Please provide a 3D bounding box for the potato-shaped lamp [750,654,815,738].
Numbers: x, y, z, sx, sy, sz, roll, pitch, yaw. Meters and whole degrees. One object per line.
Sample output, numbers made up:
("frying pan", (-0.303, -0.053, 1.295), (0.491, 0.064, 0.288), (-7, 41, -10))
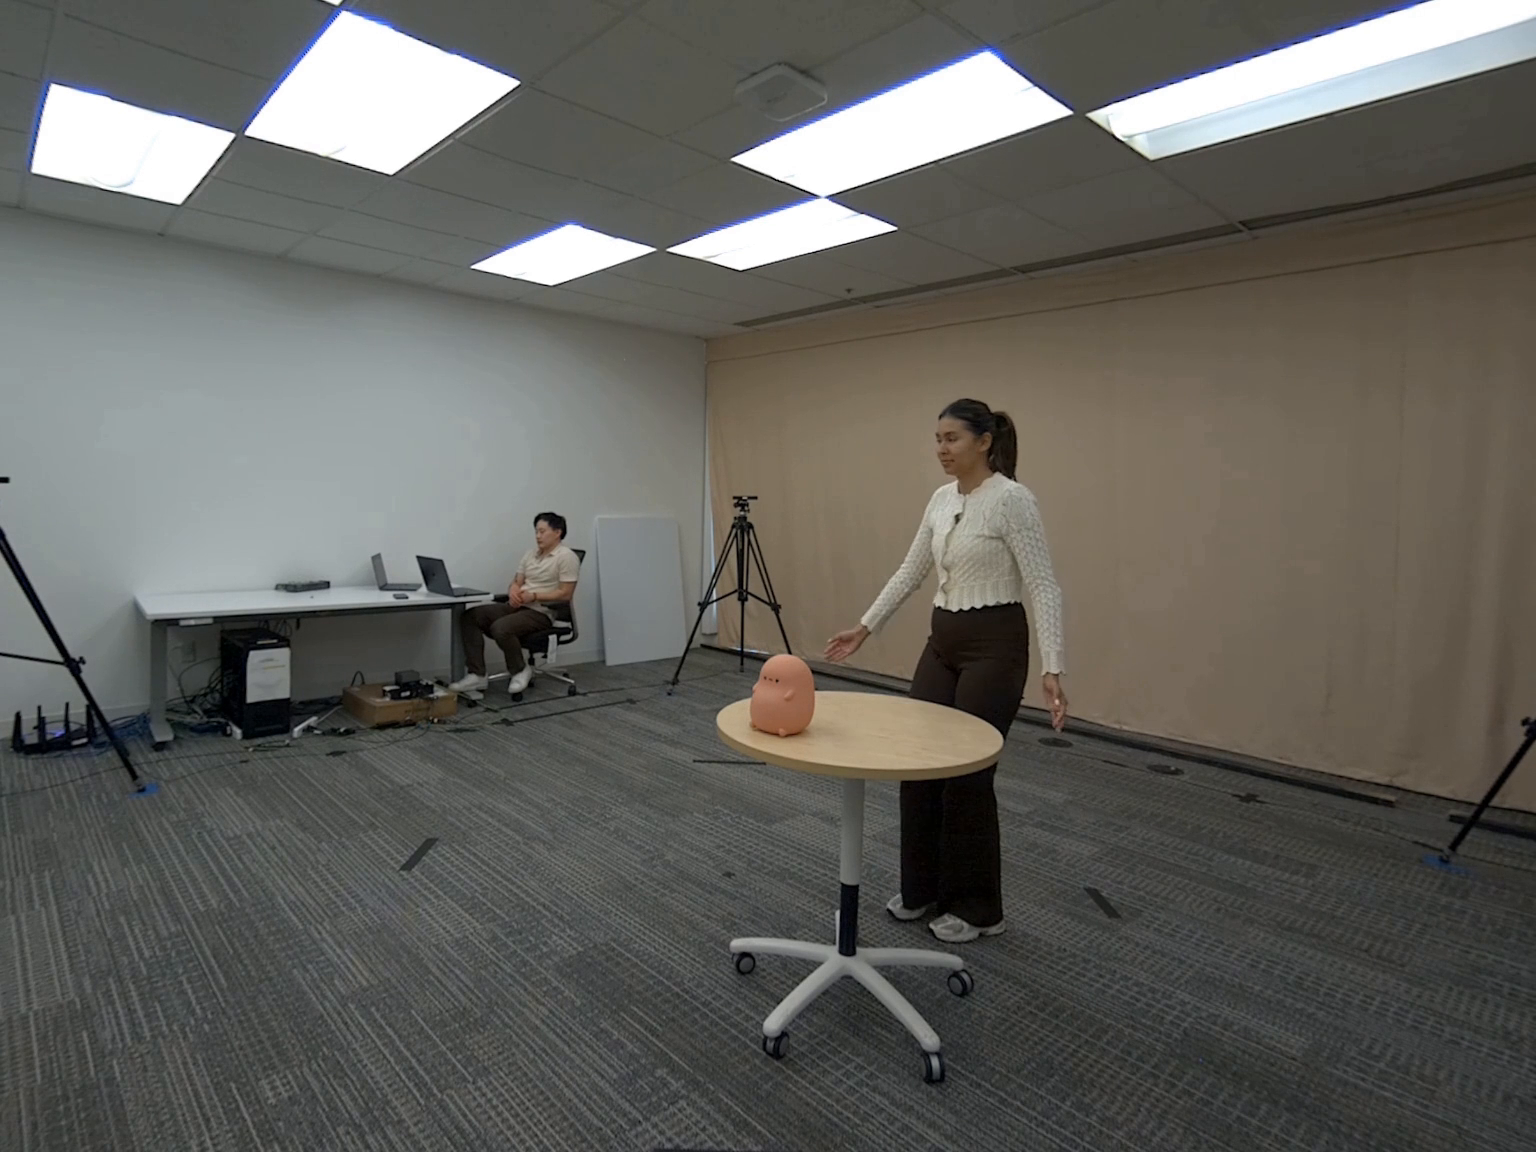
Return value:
("potato-shaped lamp", (0.036, 0.309, 2.200), (0.169, 0.197, 0.168), (4, 5, 37))
